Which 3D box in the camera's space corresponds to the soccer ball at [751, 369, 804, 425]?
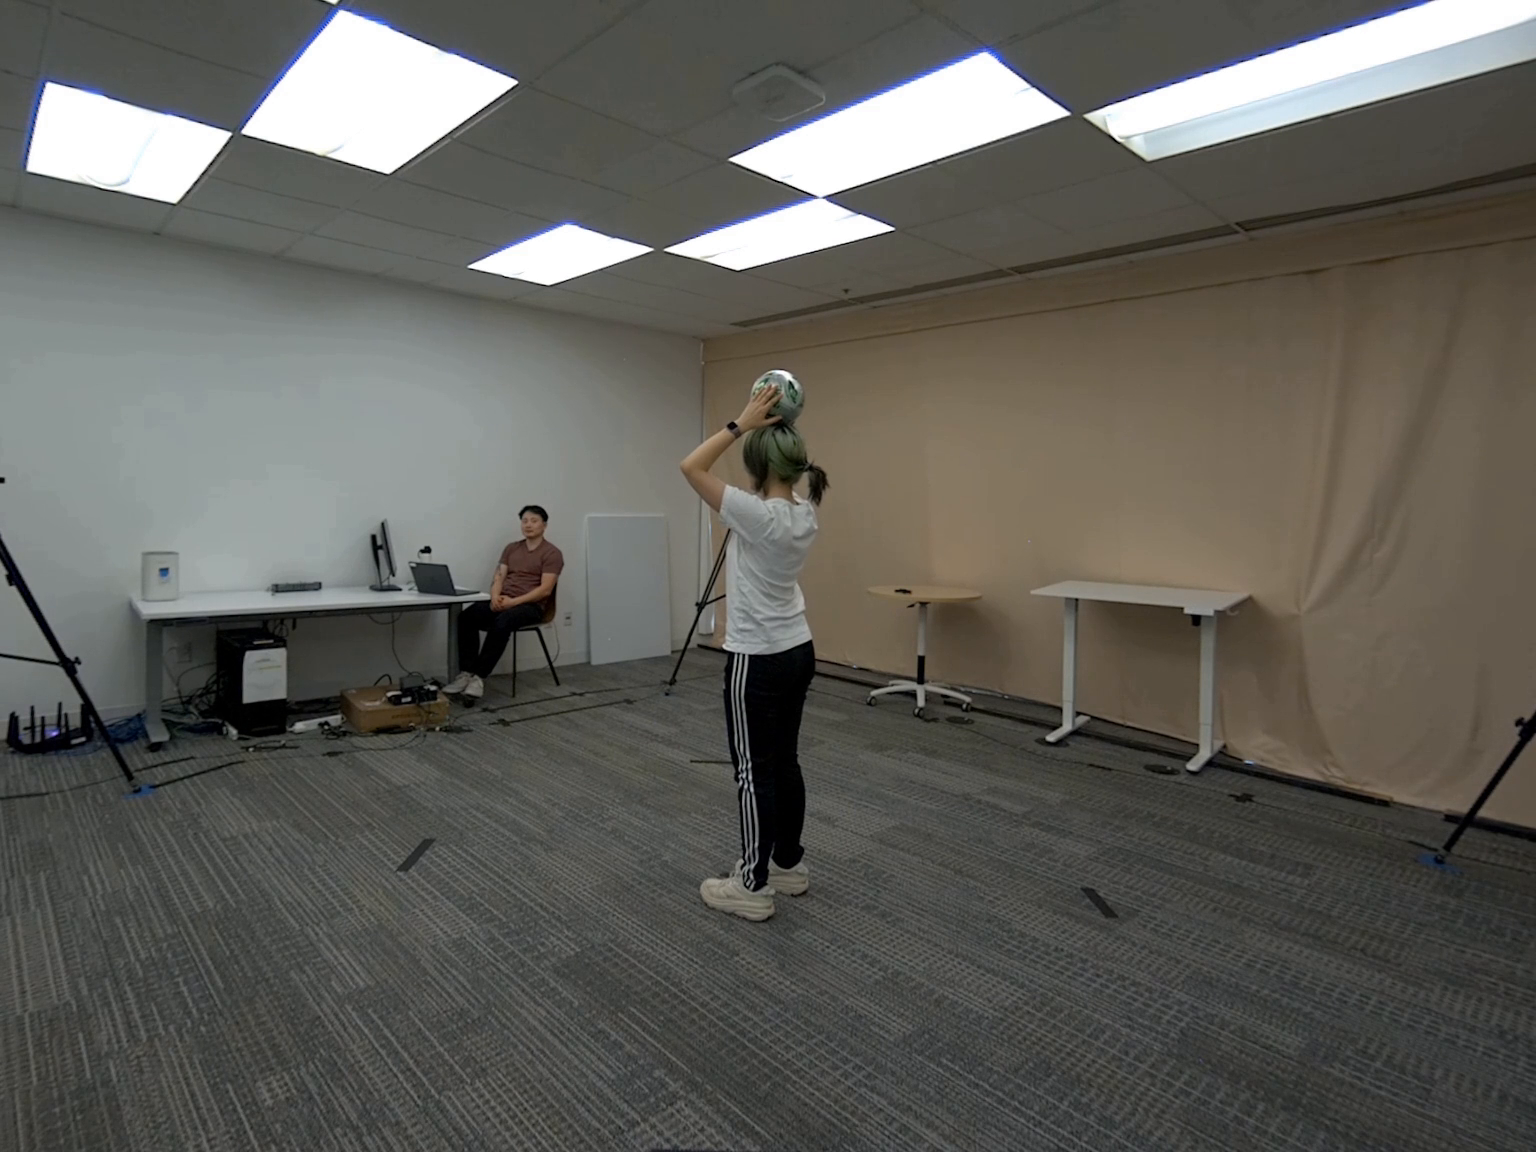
[{"bbox_3d":[0.028,-0.599,2.845,0.187,0.187,0.188,1,4,-1],"label":"soccer ball"}]
